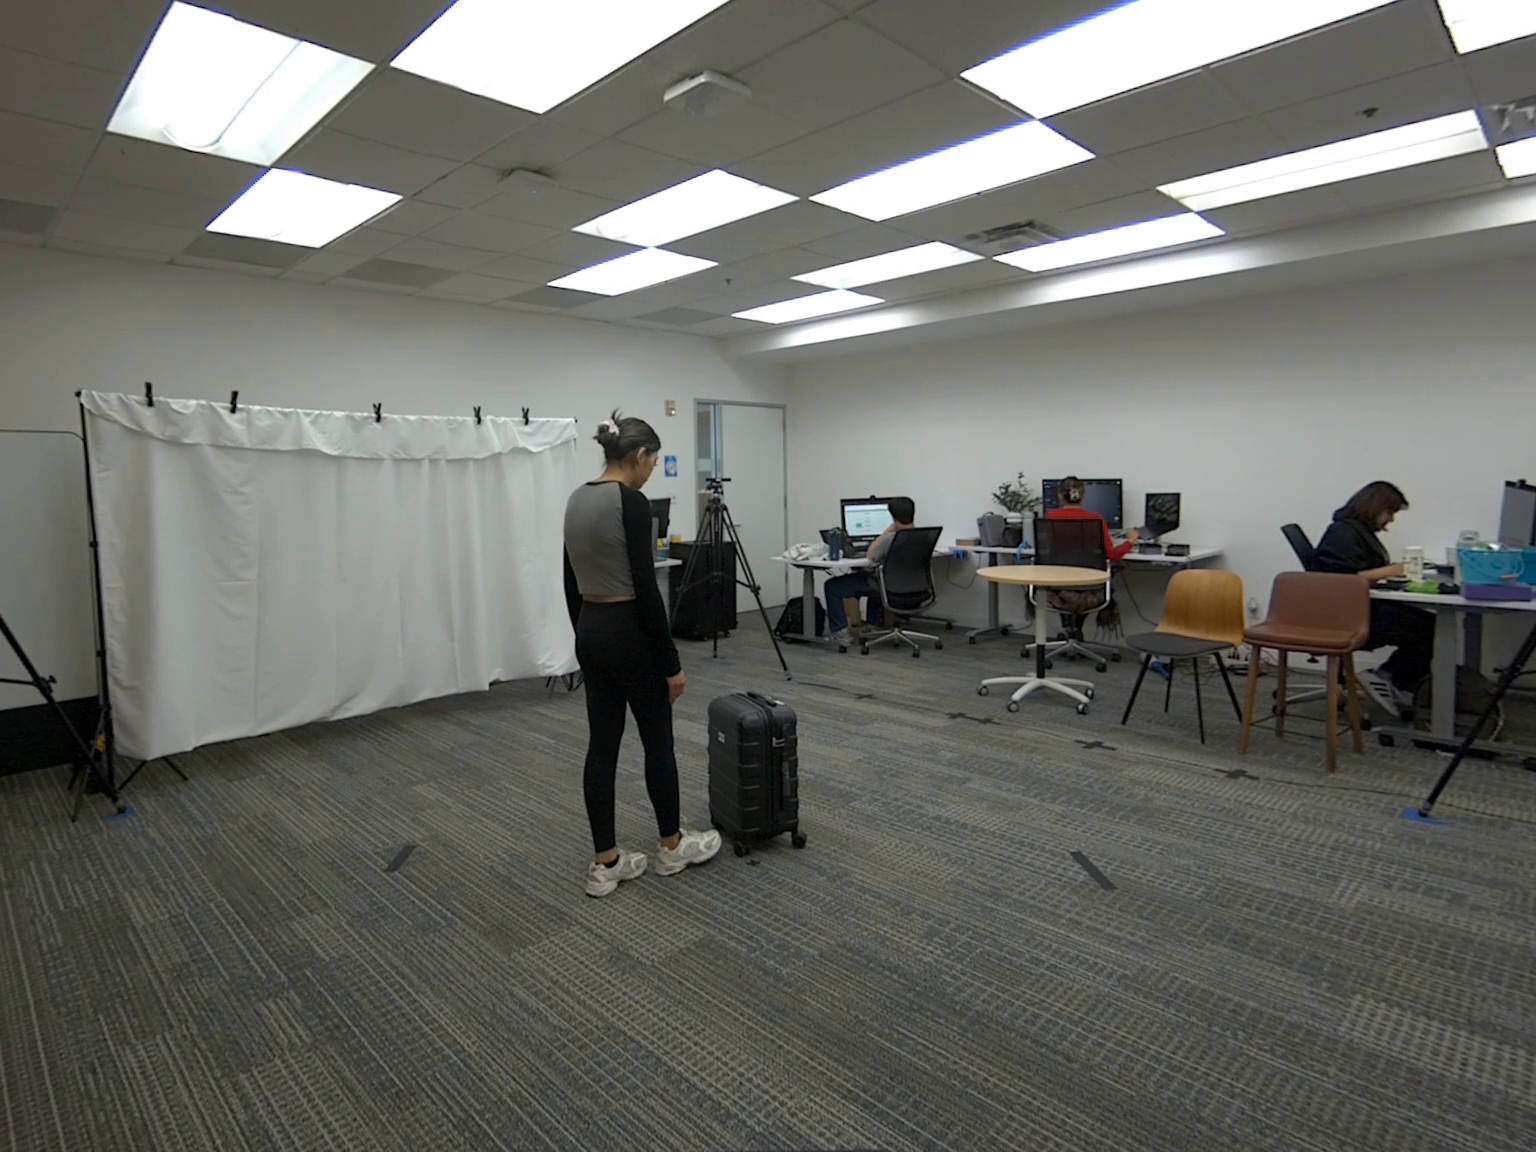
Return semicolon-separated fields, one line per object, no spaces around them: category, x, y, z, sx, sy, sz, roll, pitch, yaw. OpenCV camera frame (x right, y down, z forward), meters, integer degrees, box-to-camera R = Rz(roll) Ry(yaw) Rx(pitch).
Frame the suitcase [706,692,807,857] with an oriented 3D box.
suitcase;-0.059;0.739;3.310;0.243;0.547;0.385;-4;6;-26
